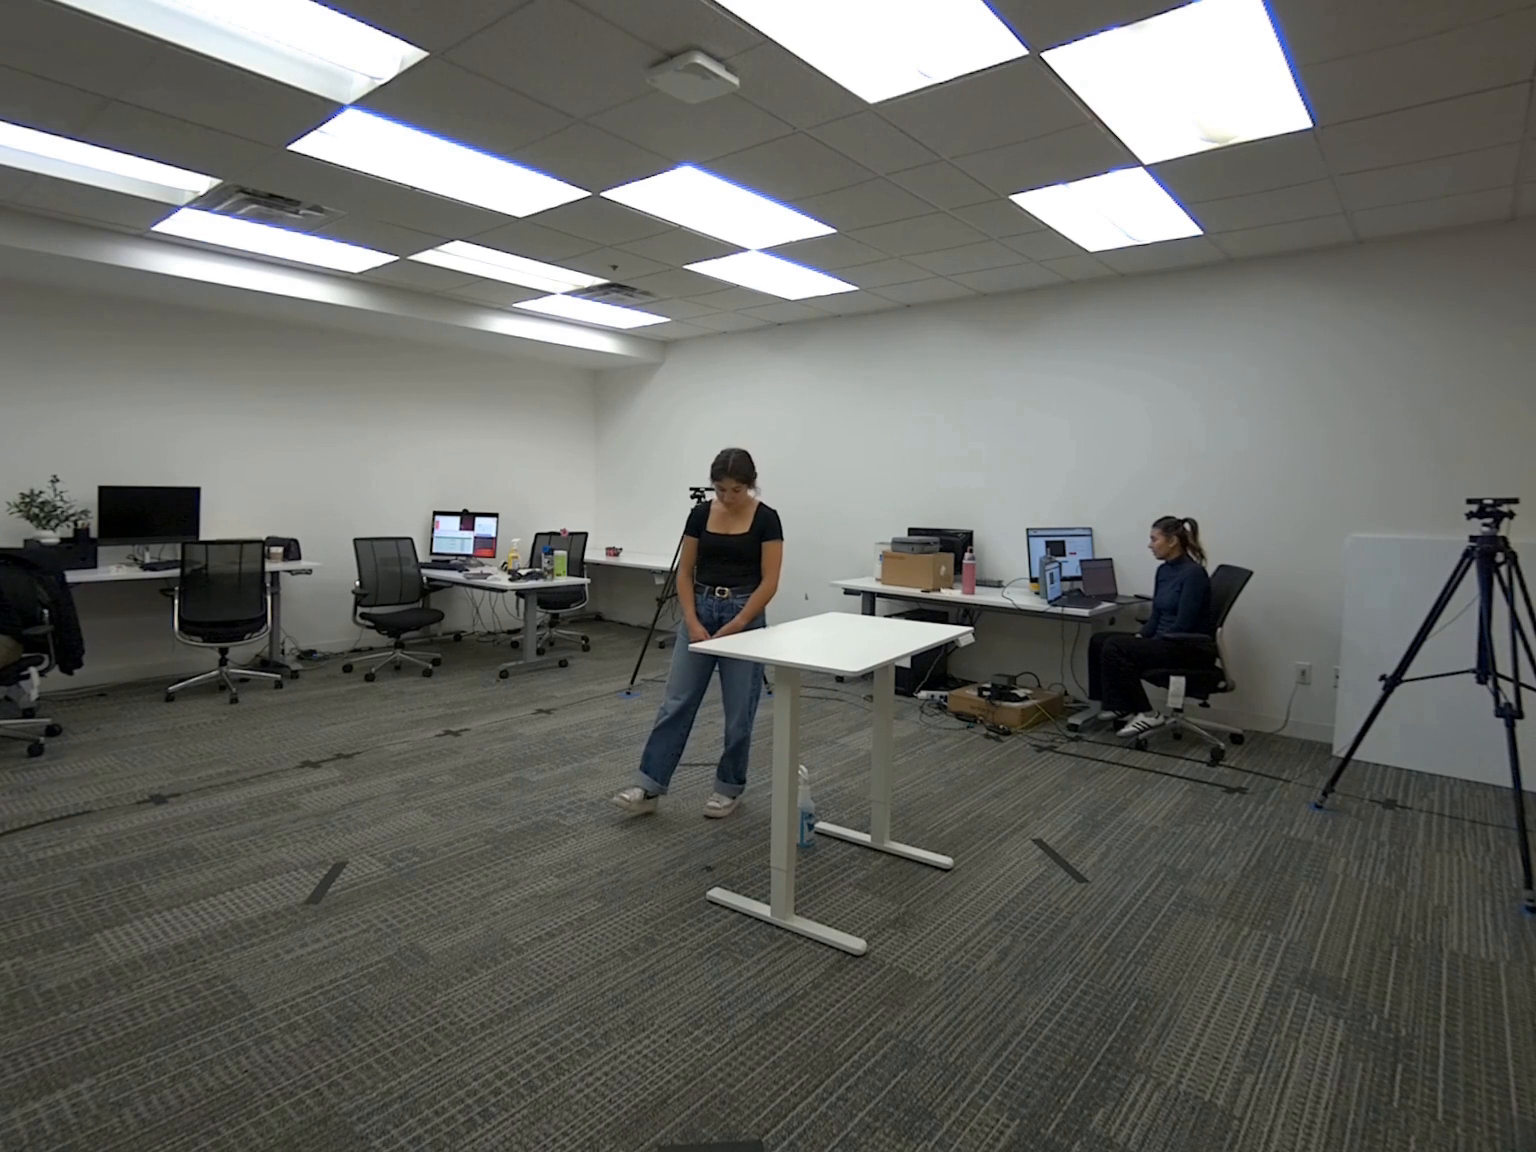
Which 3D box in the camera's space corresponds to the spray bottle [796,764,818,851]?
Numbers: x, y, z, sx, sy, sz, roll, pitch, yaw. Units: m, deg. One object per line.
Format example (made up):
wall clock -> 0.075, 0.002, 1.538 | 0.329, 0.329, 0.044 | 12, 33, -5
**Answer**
spray bottle -> 0.137, 0.909, 3.359 | 0.088, 0.297, 0.088 | -1, -1, 14
